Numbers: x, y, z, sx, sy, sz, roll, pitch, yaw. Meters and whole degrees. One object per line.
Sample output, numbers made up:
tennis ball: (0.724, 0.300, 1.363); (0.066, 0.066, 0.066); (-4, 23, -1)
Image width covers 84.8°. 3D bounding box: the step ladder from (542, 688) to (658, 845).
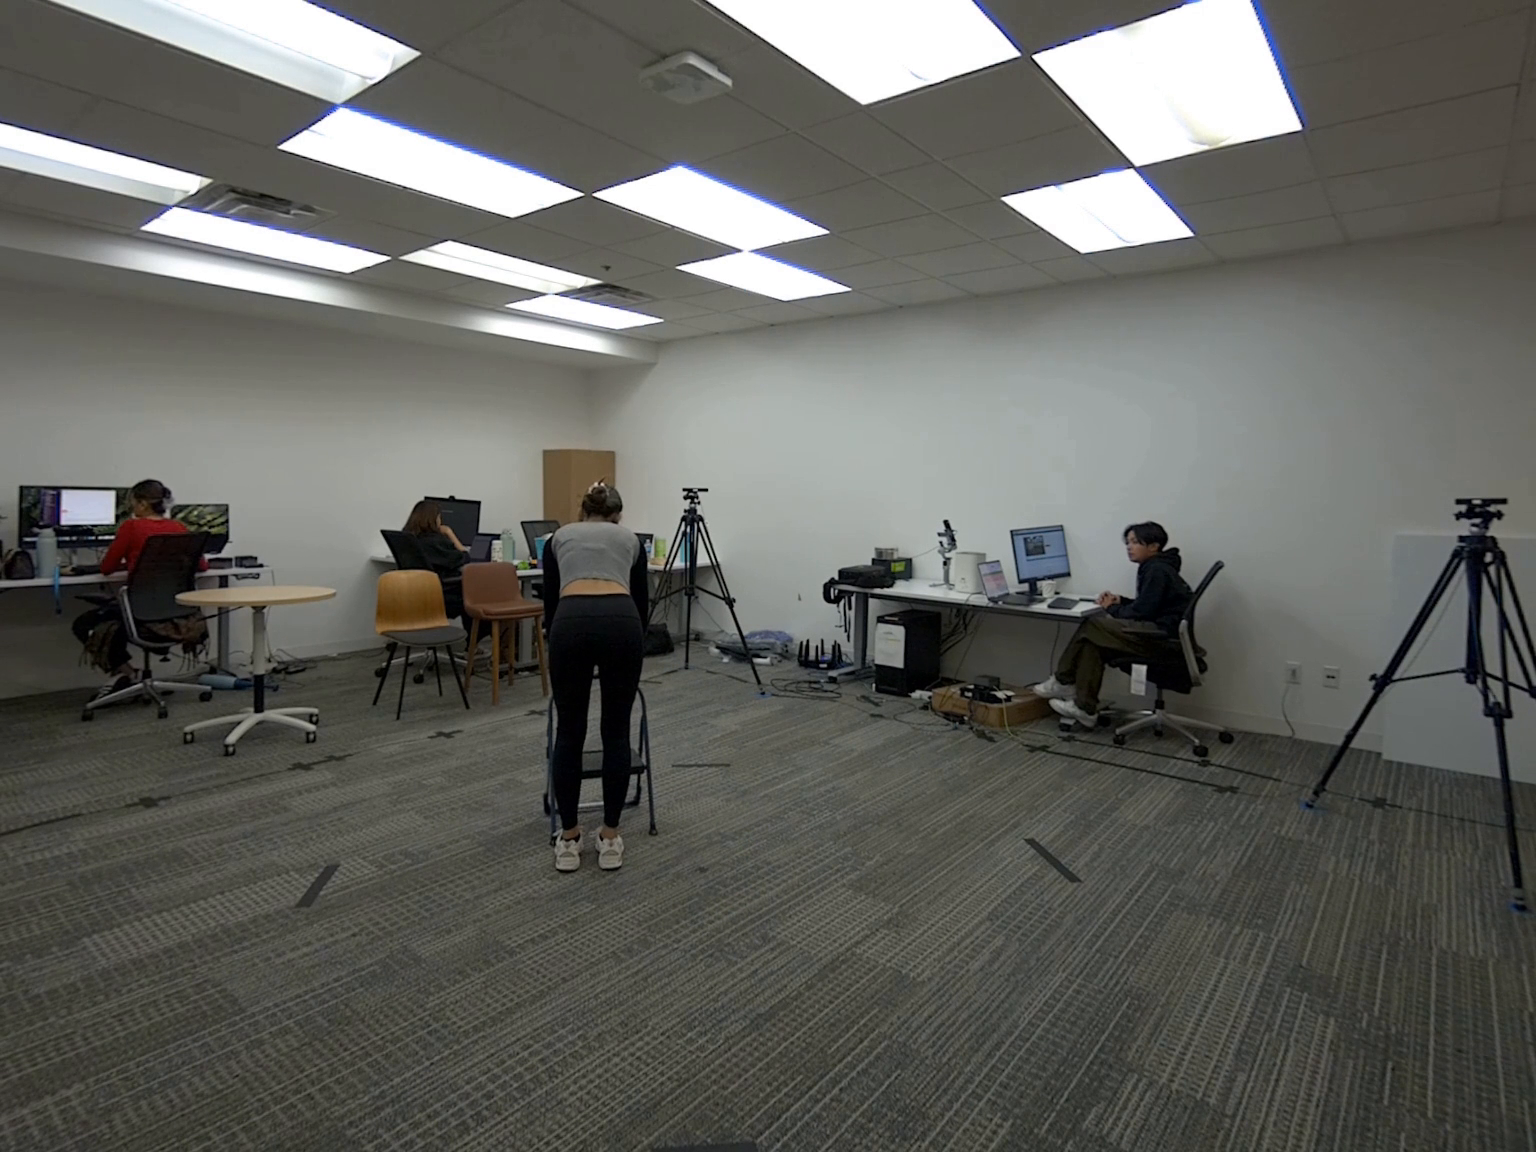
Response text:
step ladder: (-0.703, 0.714, 3.497); (0.423, 0.604, 0.357); (0, 4, -19)
